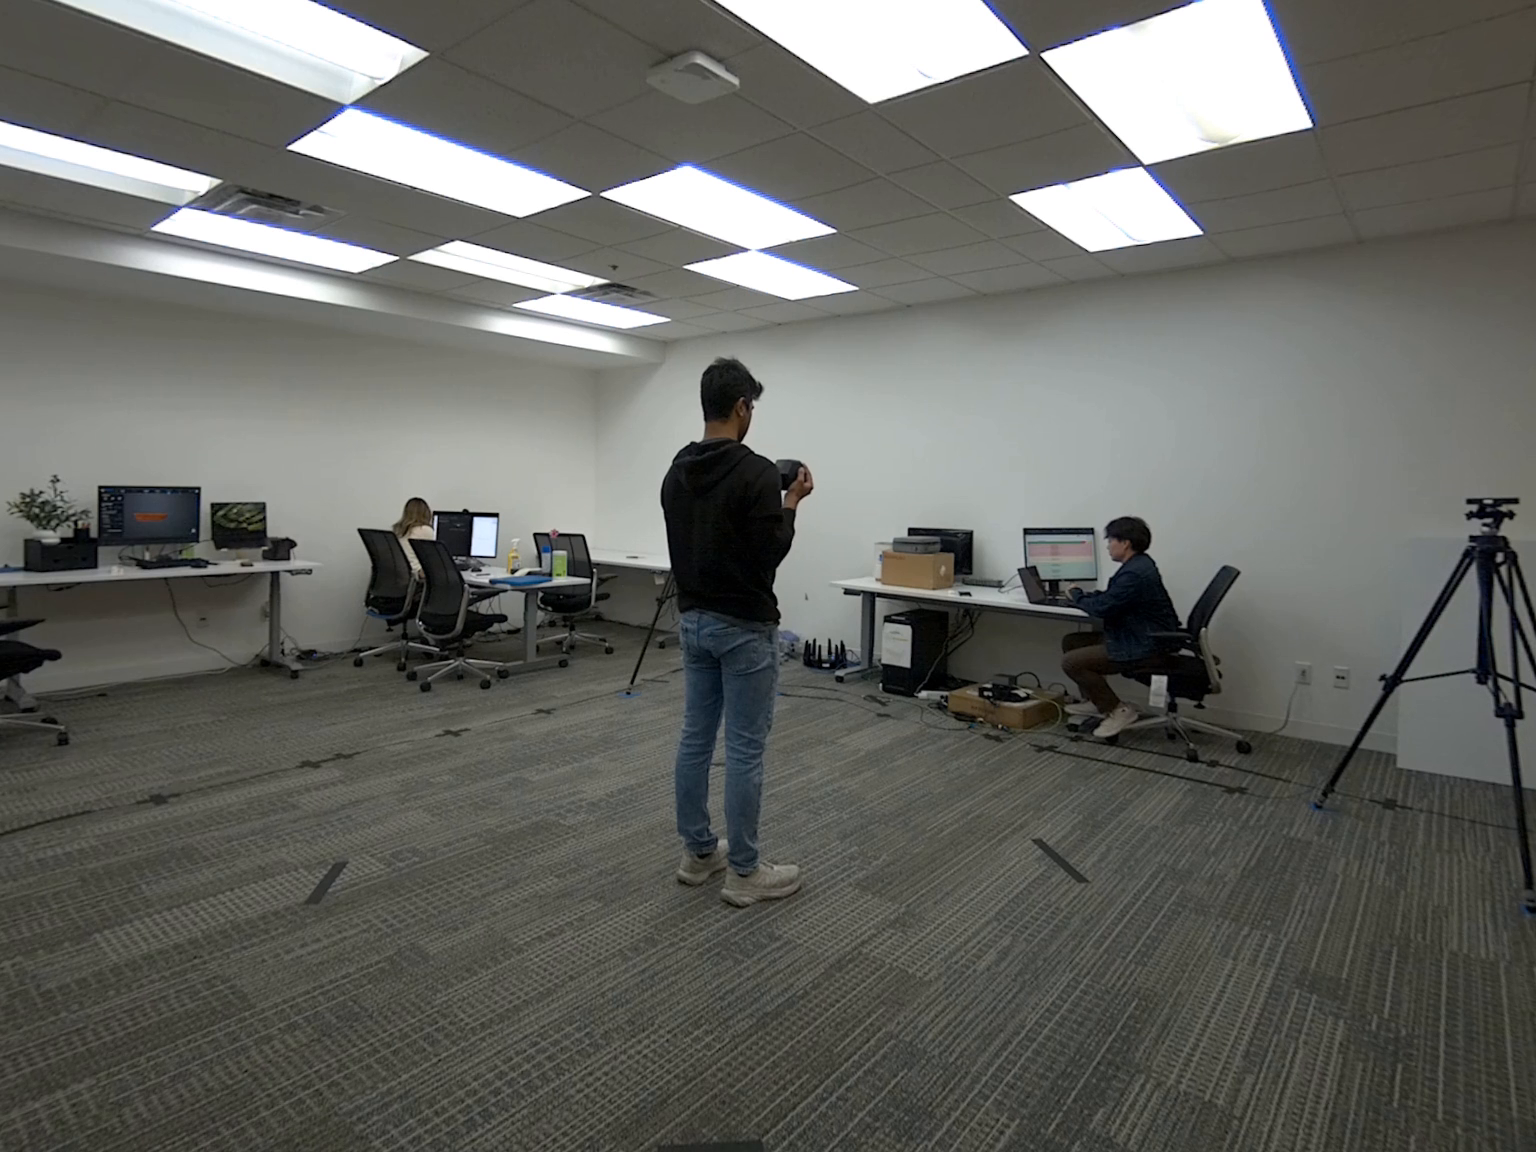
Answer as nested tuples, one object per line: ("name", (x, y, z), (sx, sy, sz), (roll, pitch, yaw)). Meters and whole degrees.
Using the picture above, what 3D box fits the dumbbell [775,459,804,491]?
("dumbbell", (-0.025, -0.350, 3.055), (0.303, 0.108, 0.119), (3, 3, 41))
